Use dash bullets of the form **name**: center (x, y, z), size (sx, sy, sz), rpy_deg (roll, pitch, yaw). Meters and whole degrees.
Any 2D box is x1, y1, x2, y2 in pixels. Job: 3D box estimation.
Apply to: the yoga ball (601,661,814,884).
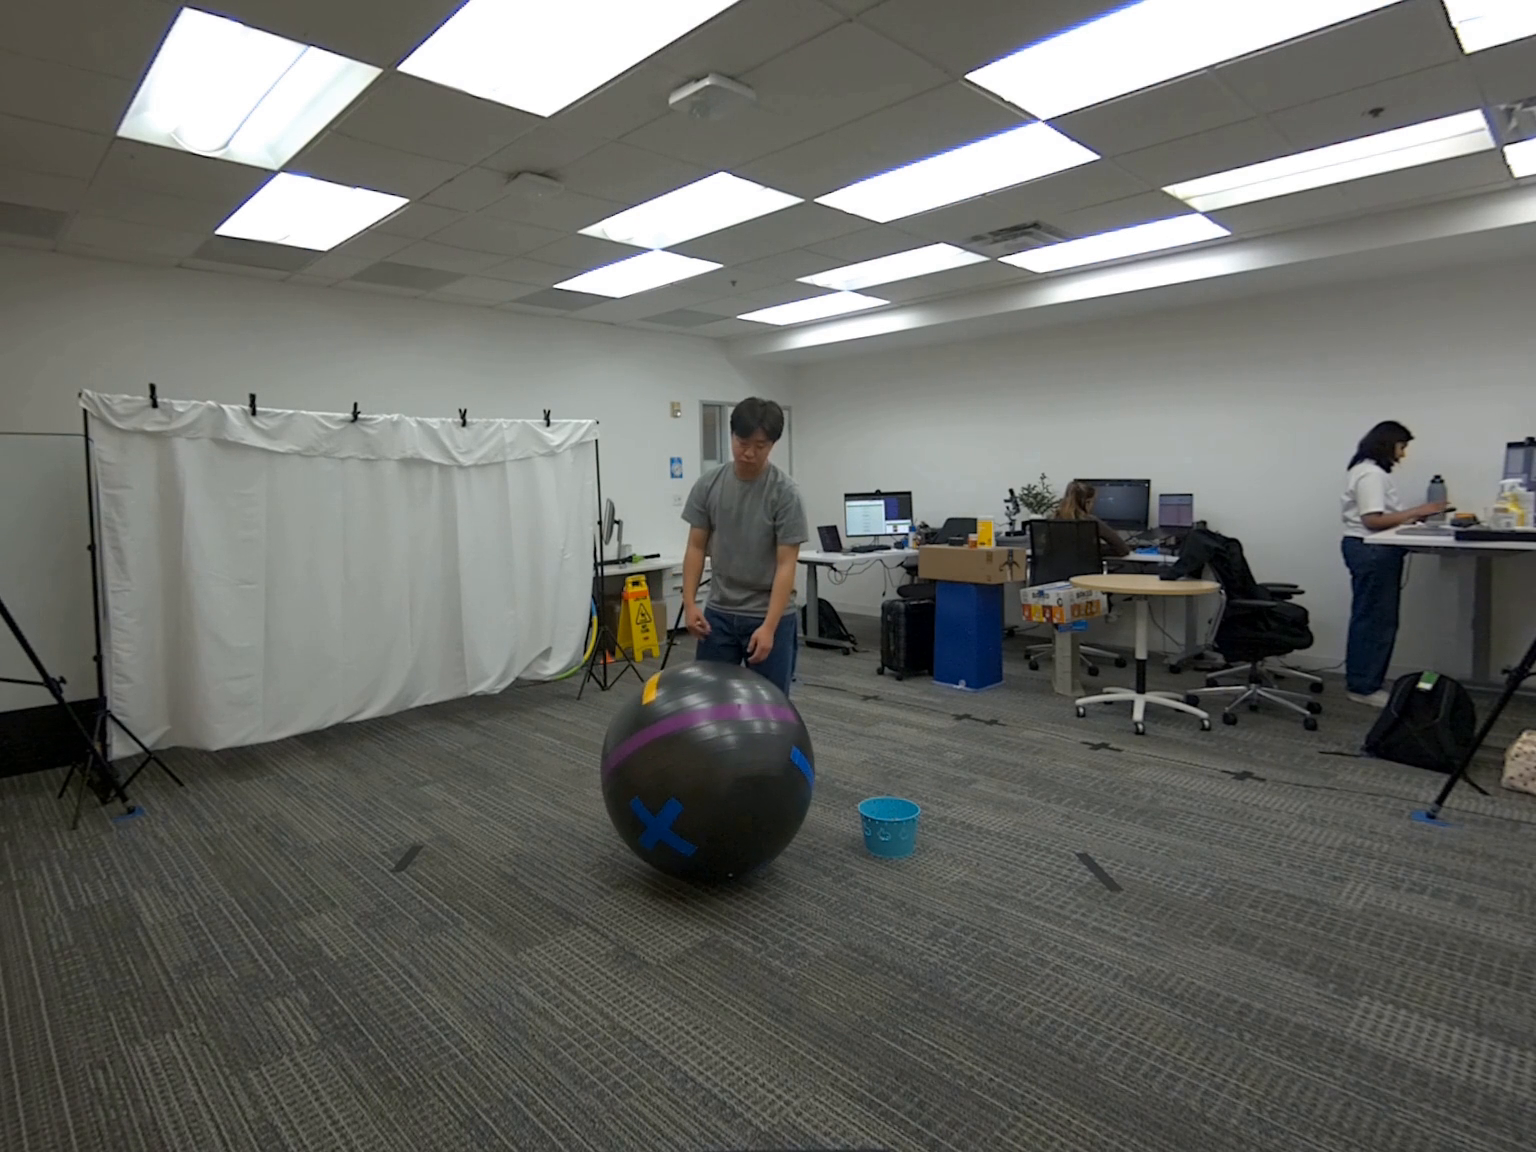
- **yoga ball**: center (-0.220, 0.688, 3.032), size (0.757, 0.755, 0.762), rpy_deg (-1, 5, -2)
